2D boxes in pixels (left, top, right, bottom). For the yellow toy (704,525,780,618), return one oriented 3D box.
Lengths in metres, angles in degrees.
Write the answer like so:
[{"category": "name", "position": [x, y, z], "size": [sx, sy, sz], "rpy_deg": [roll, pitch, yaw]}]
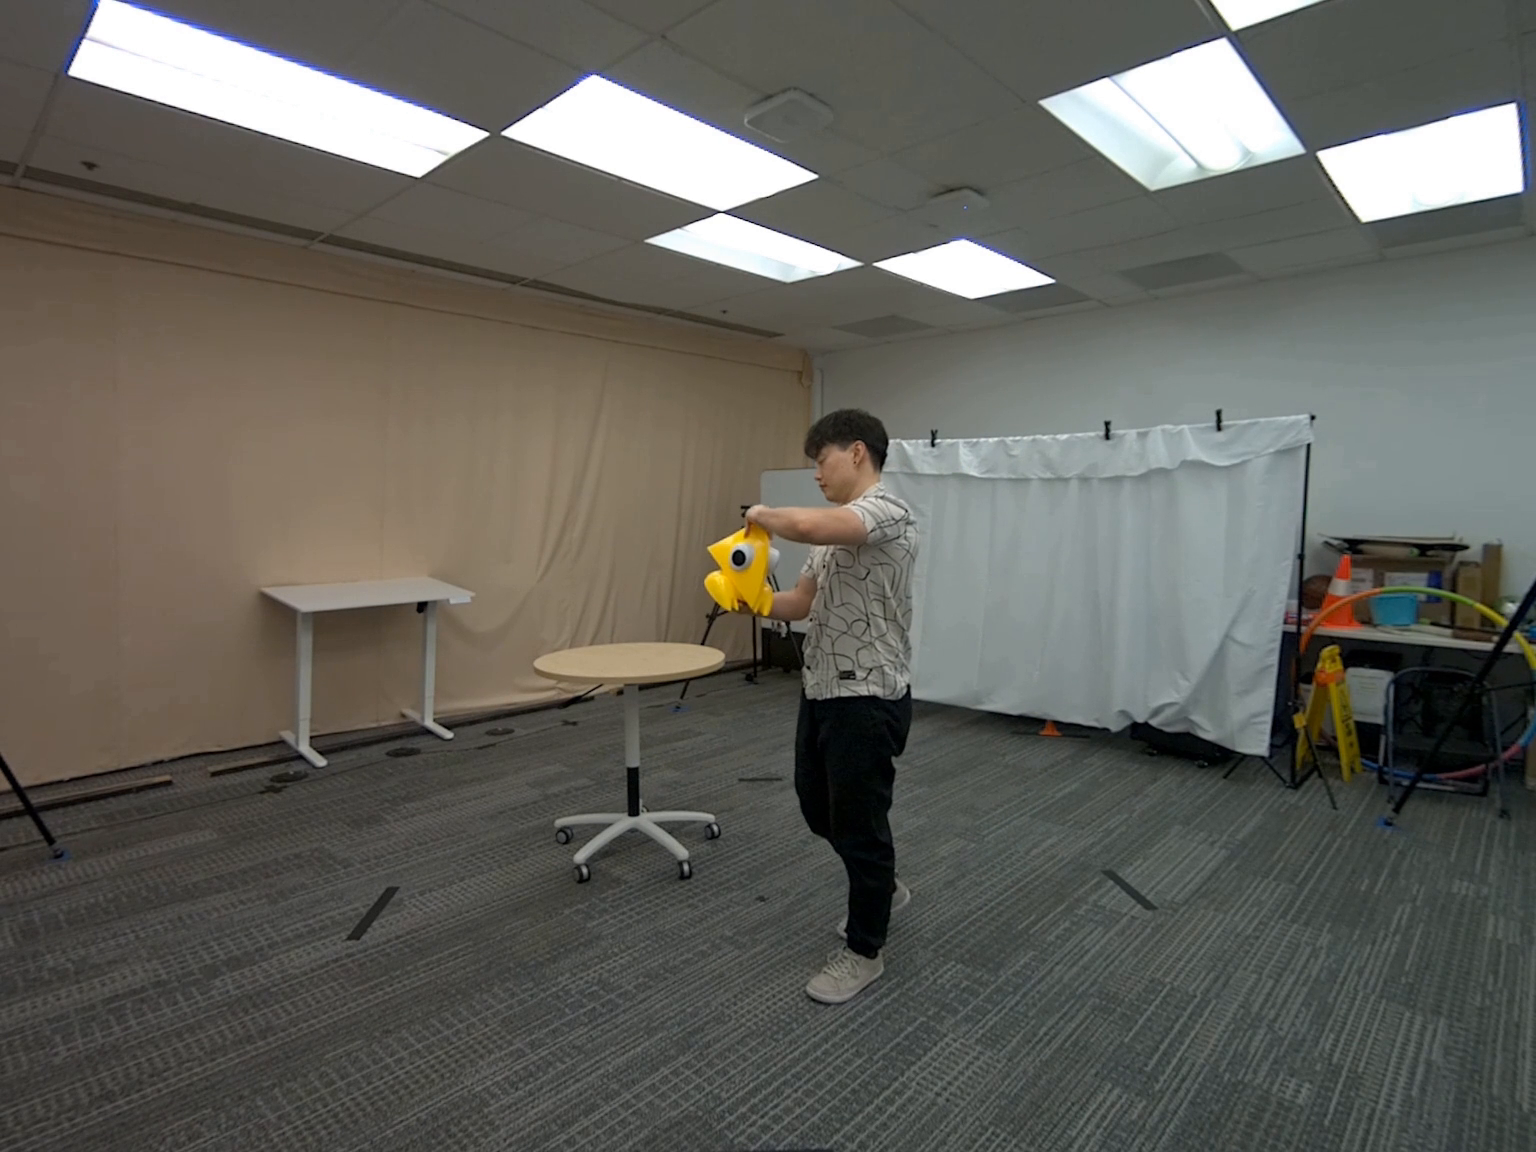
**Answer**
[{"category": "yellow toy", "position": [-0.032, -0.036, 2.379], "size": [0.198, 0.230, 0.199], "rpy_deg": [10, 33, -35]}]
